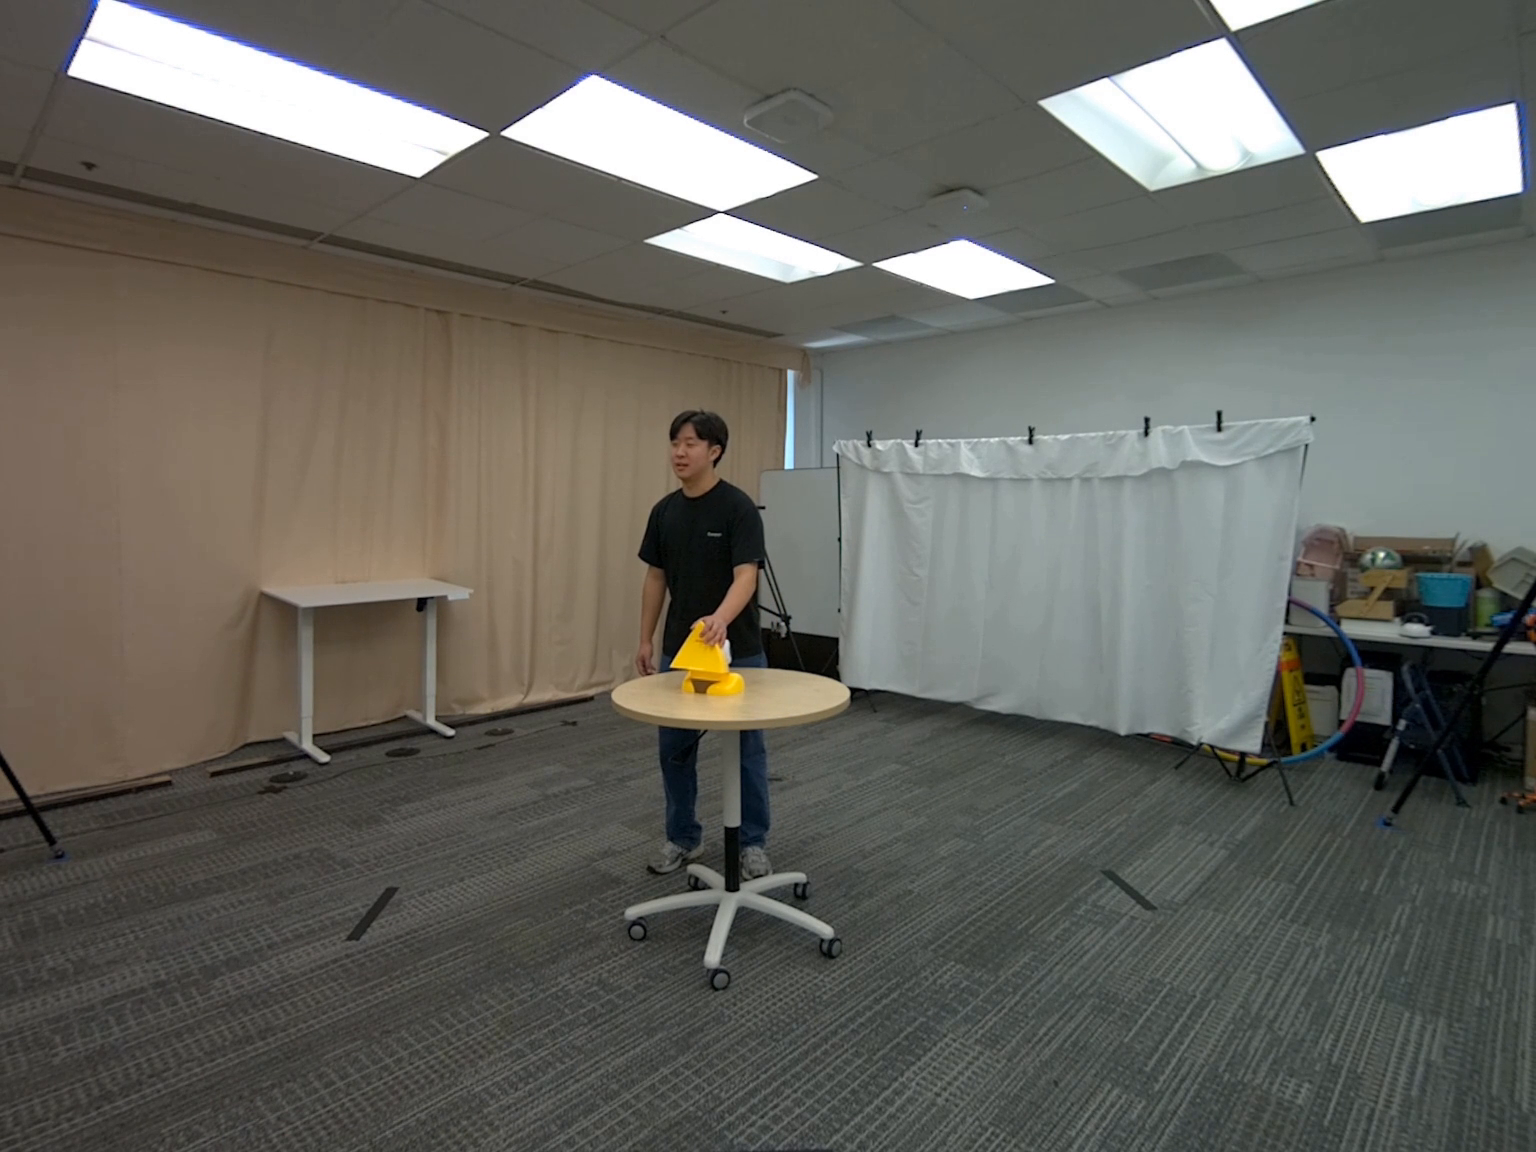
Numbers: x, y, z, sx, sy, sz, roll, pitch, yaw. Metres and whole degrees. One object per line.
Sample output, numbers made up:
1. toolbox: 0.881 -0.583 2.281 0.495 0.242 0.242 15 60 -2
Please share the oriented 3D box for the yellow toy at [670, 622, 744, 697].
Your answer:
1. yellow toy: -0.183 0.255 2.741 0.211 0.230 0.188 2 4 30
